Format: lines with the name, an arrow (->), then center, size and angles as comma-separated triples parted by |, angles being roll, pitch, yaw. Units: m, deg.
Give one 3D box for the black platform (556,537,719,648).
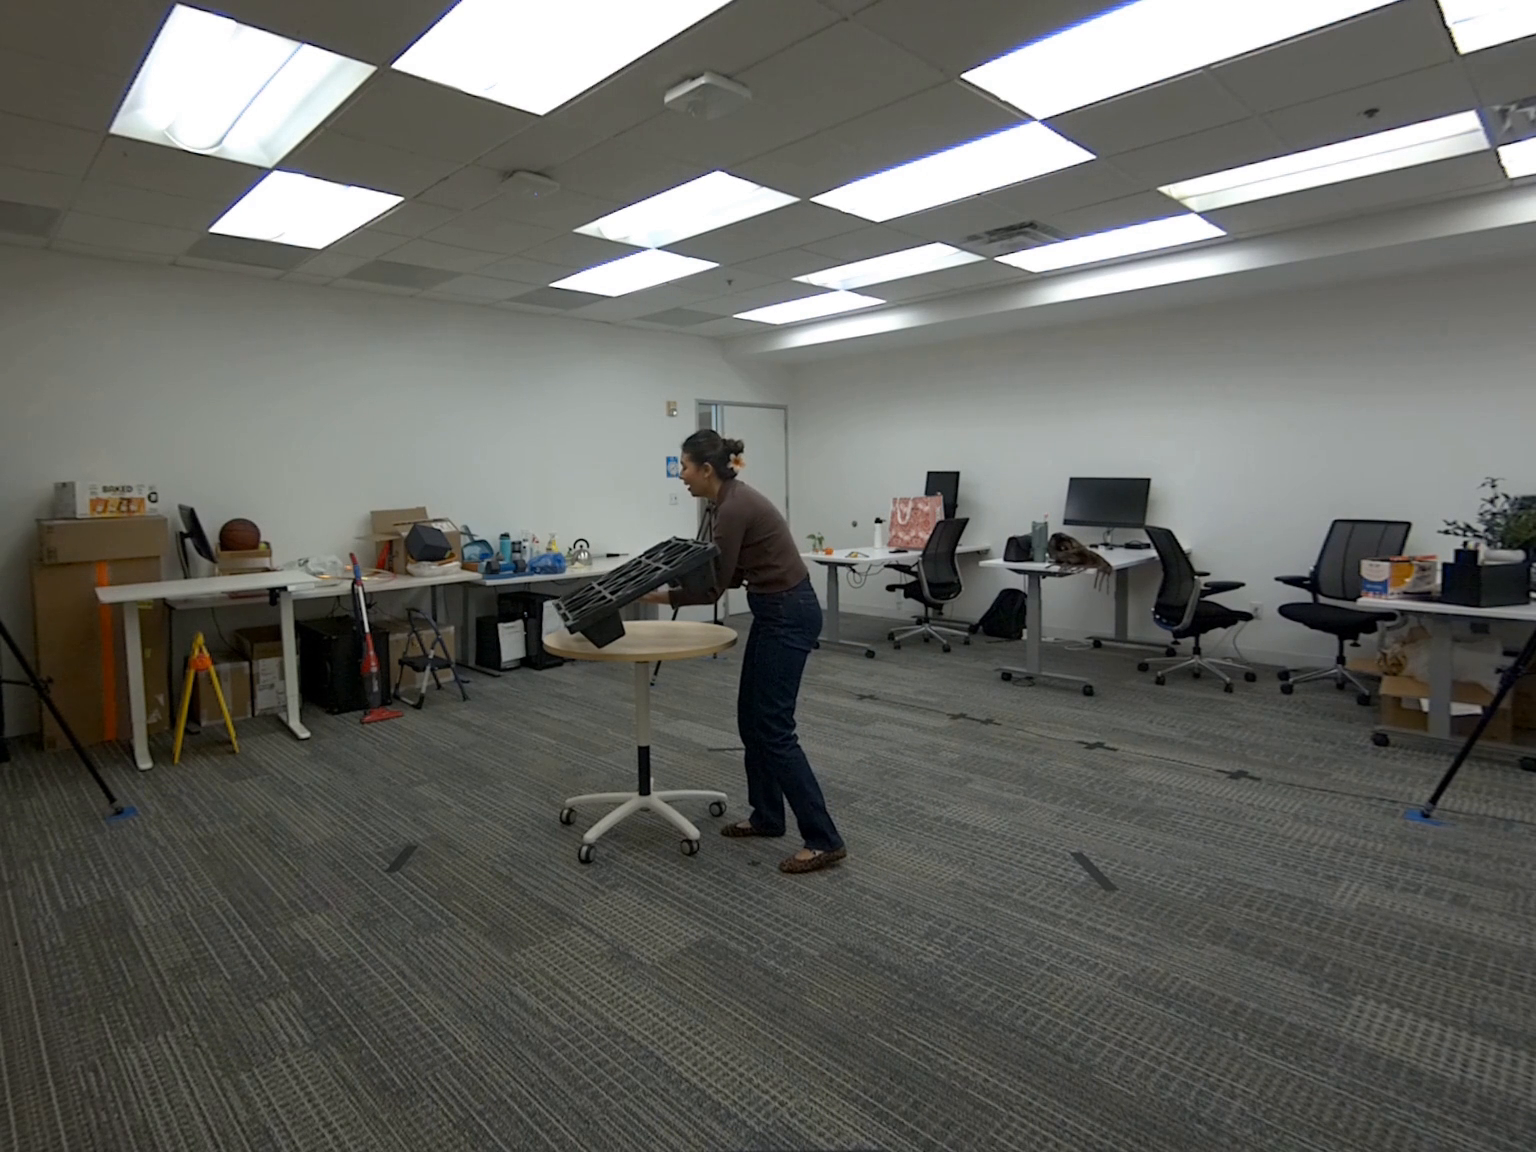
black platform -> -0.516, 0.056, 3.315 | 0.602, 0.141, 0.819 | -30, 12, -13
